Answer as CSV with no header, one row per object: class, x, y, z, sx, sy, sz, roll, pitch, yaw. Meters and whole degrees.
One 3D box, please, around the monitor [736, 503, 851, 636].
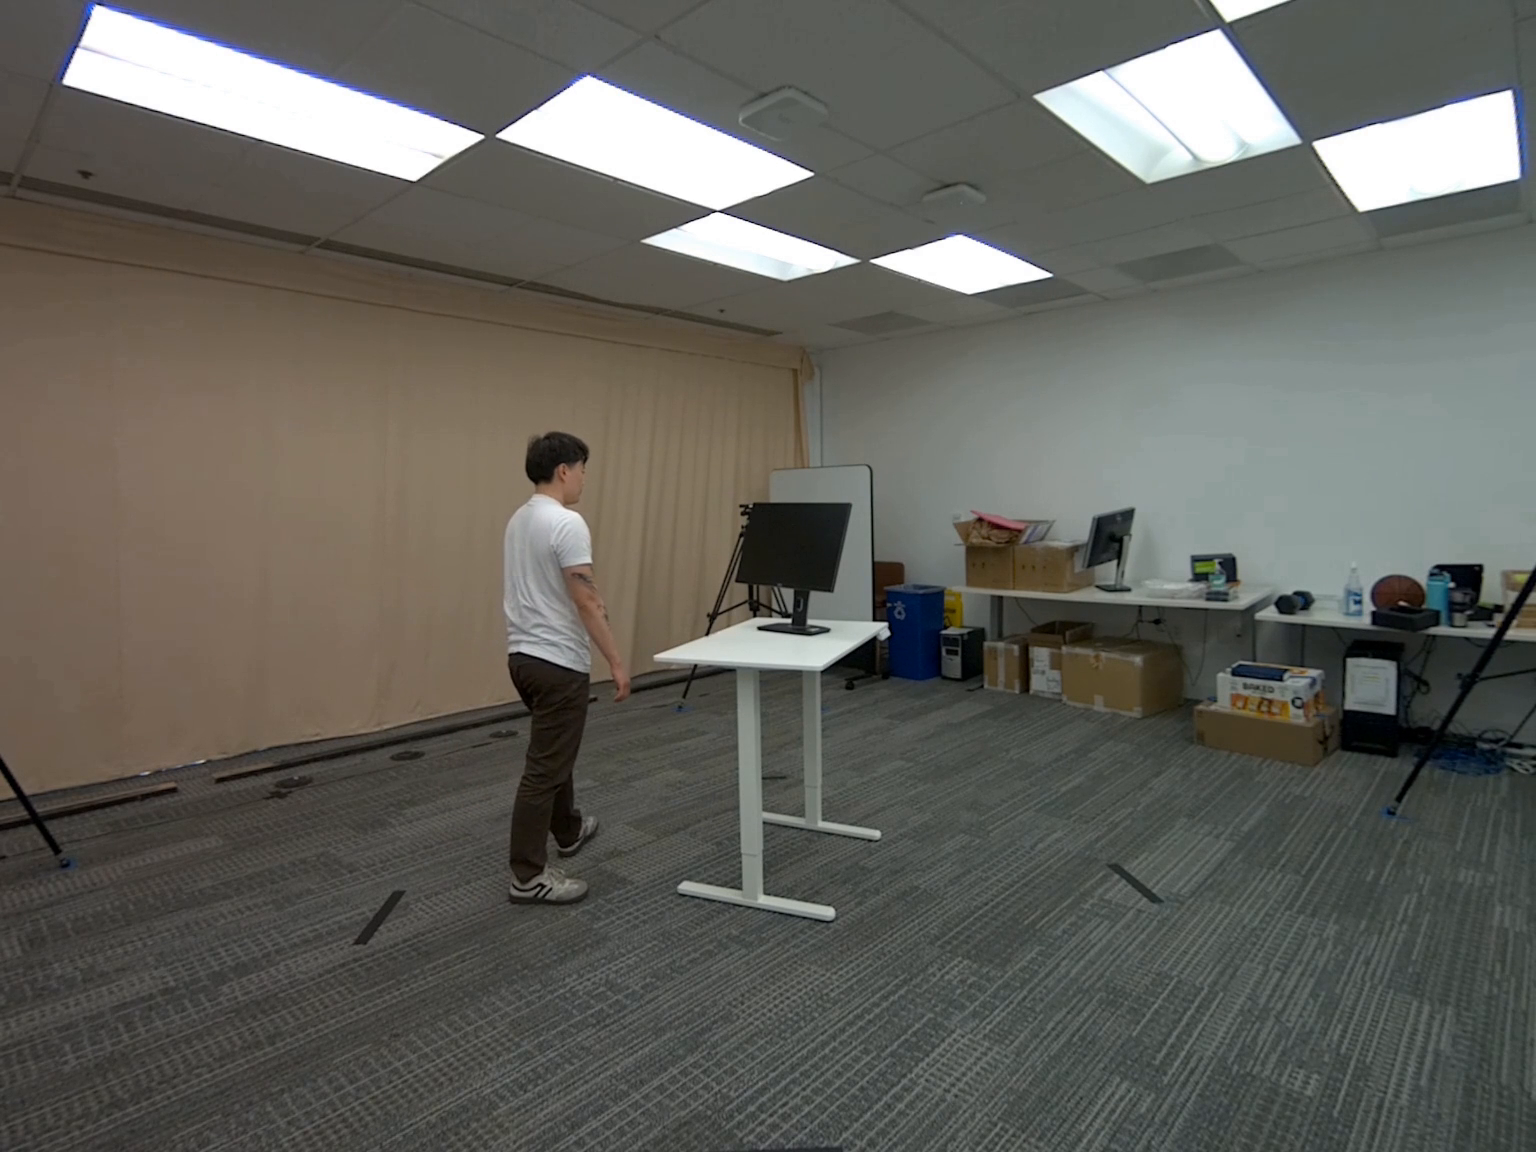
monitor,0.115,-0.033,3.389,0.557,0.522,0.181,4,2,44
